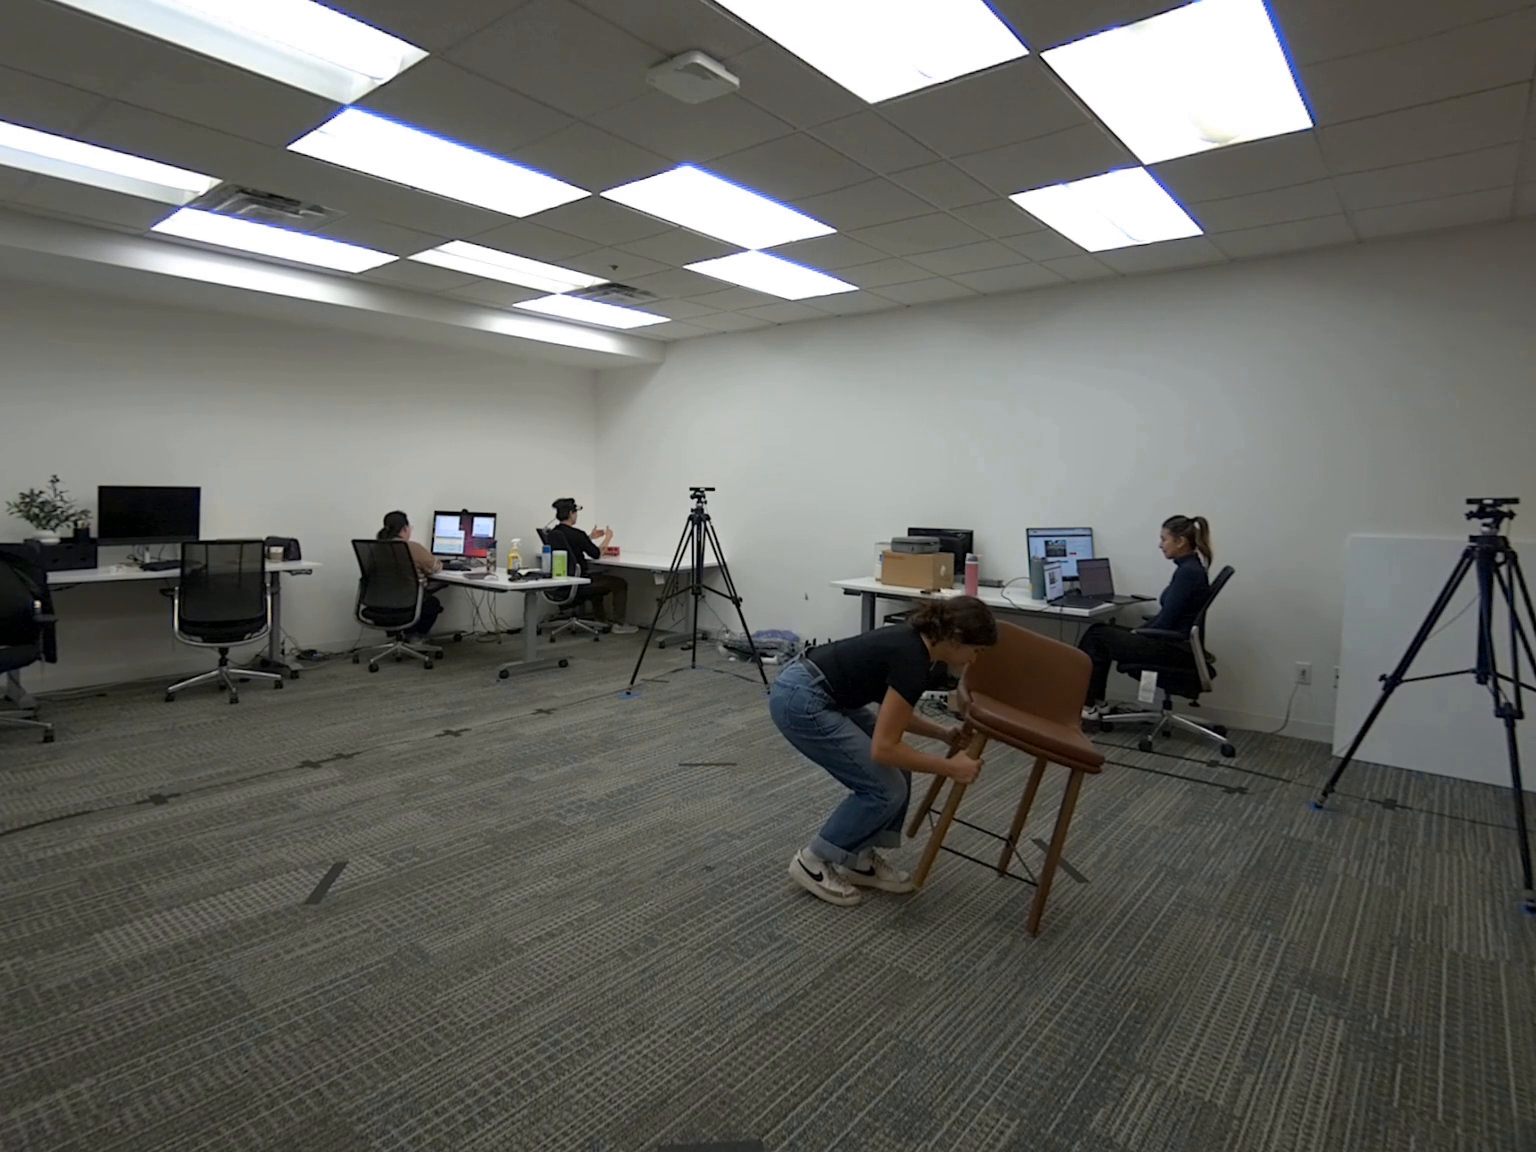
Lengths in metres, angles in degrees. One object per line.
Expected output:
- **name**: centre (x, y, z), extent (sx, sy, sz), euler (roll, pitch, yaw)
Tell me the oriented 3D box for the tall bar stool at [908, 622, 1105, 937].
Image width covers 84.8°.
- **tall bar stool**: centre (0.824, 0.642, 2.891), extent (0.460, 0.888, 0.465), euler (21, 3, 4)
